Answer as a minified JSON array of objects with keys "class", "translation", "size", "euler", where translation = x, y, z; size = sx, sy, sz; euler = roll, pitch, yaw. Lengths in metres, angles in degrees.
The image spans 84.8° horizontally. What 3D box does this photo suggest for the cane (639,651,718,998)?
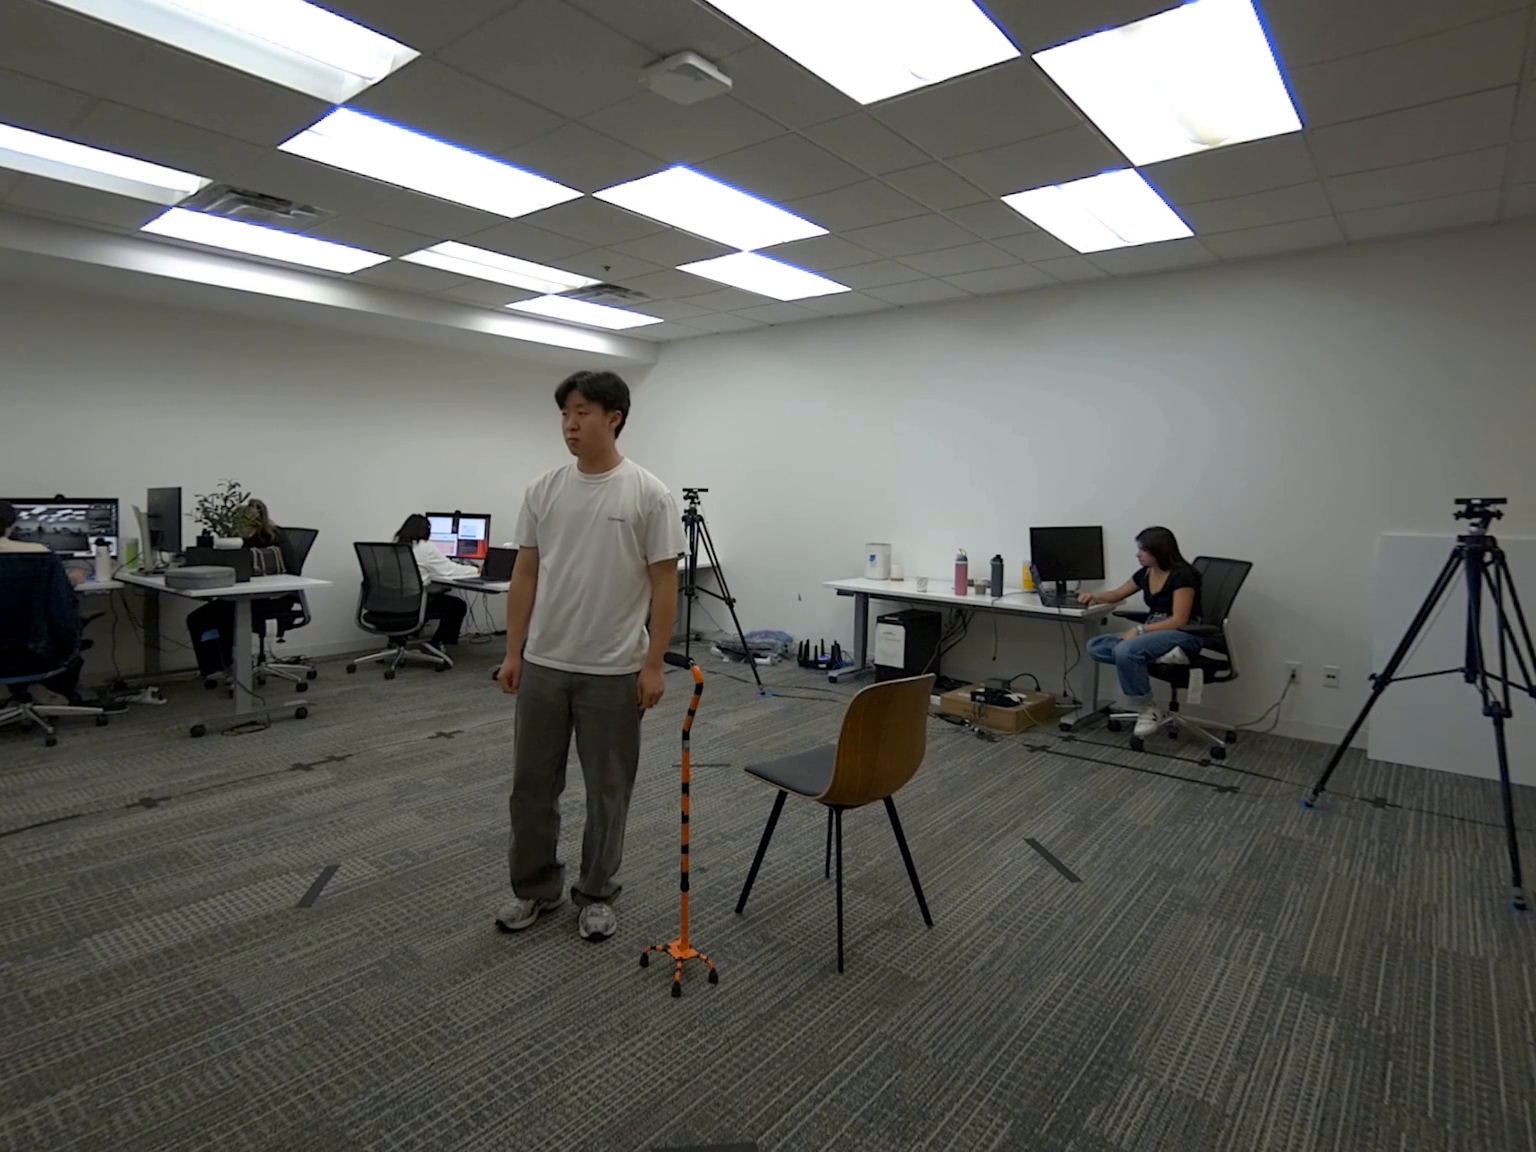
[{"class":"cane","translation":[-0.245,0.683,2.411],"size":[0.147,0.905,0.213],"euler":[0,4,-39]}]
